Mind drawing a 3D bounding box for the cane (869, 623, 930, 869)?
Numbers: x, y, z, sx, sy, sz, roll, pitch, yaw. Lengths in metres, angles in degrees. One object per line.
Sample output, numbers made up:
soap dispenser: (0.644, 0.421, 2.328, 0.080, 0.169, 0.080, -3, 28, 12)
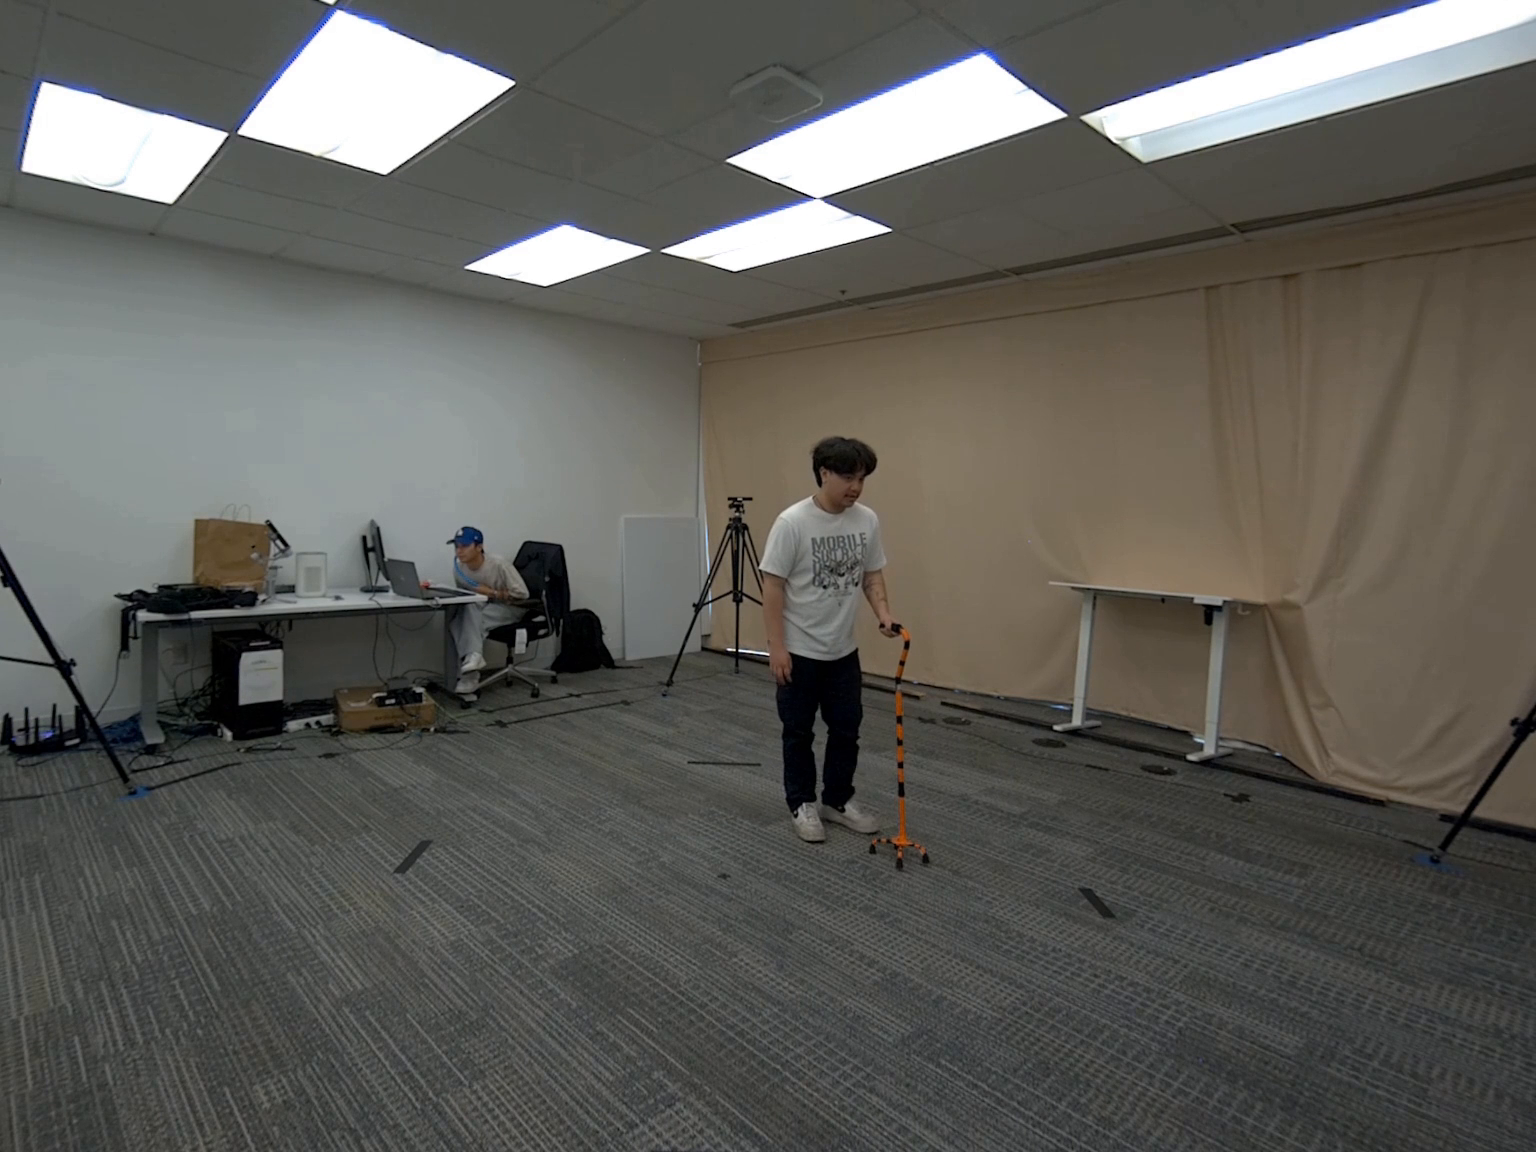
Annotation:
cane: (0.497, 0.650, 3.301, 0.149, 0.909, 0.210, 0, -2, -25)
